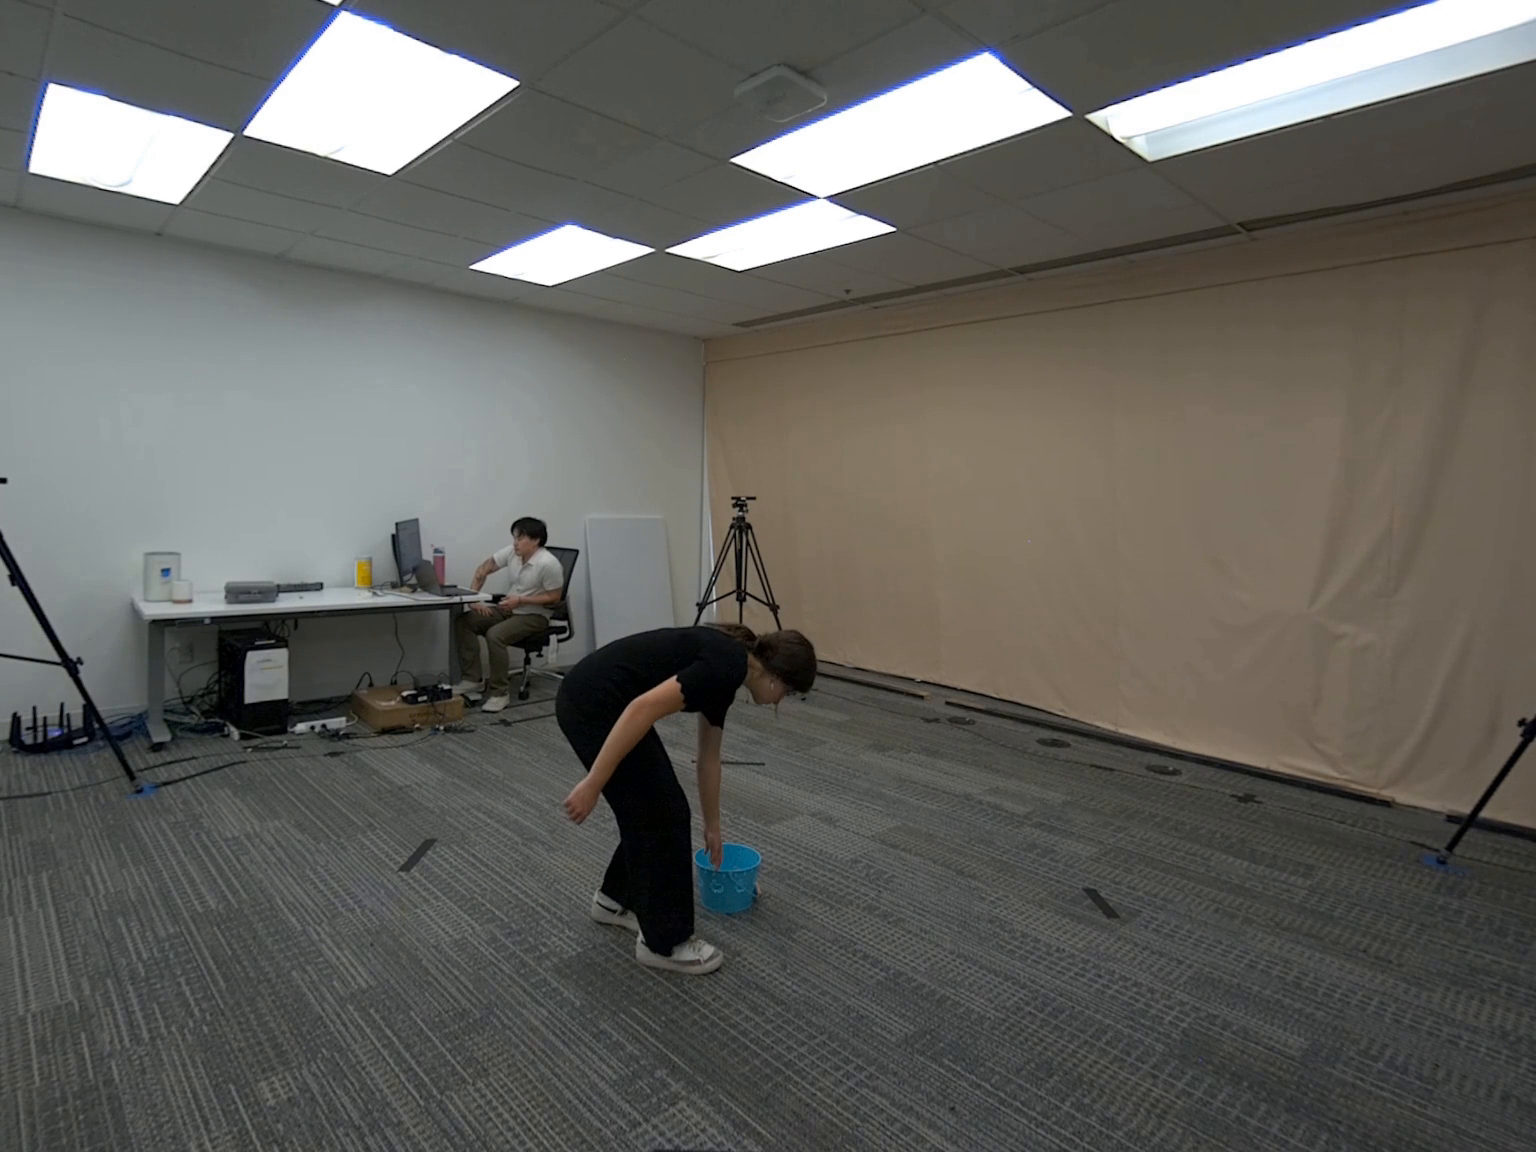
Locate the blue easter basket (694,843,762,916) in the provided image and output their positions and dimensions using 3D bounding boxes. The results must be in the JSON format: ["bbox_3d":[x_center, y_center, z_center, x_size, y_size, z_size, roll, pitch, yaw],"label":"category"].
[{"bbox_3d":[-0.145,1.042,2.909,0.243,0.155,0.244,0,5,-1],"label":"blue easter basket"}]
